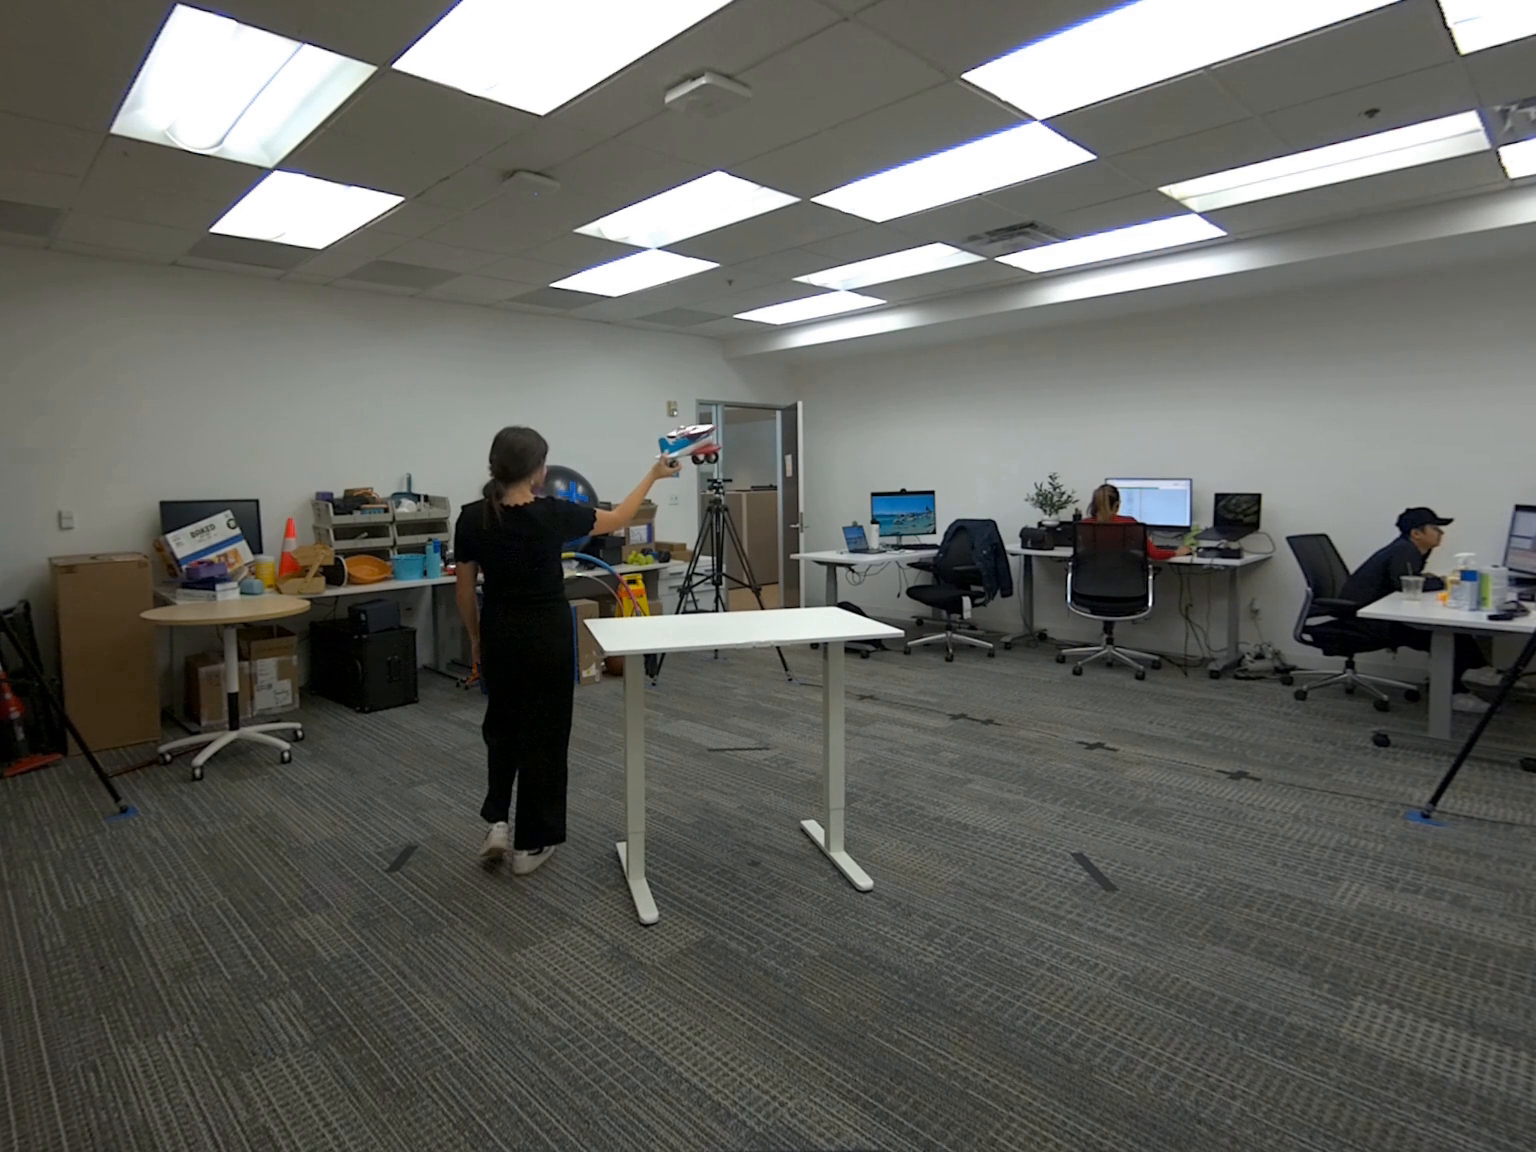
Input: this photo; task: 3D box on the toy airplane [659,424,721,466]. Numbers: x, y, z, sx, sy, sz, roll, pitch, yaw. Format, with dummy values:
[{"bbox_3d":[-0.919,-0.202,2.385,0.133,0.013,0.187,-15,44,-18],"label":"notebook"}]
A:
[{"bbox_3d":[-0.306,-0.503,3.329,0.255,0.155,0.257,-5,9,20],"label":"toy airplane"}]
